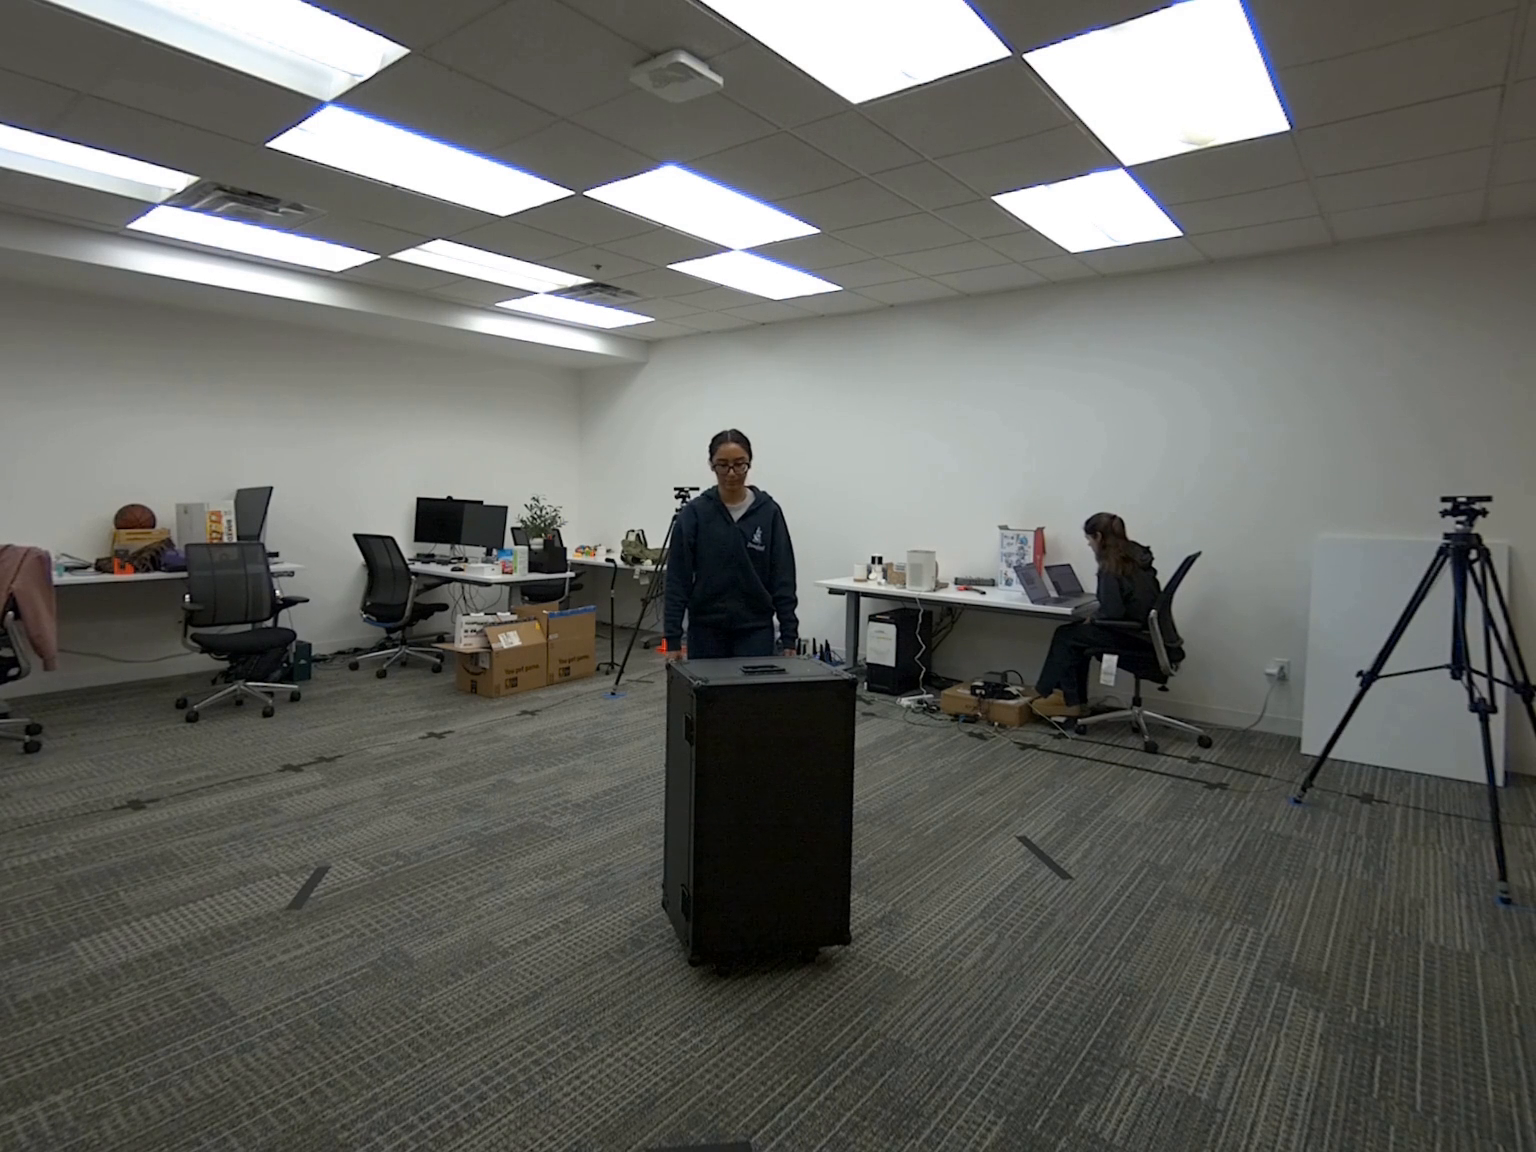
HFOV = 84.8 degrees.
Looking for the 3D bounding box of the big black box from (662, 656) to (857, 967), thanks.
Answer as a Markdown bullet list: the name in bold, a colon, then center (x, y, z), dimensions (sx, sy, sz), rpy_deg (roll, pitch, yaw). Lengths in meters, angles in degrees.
- **big black box**: center (-0.054, 0.692, 2.565), dimensions (0.512, 0.860, 0.404), rpy_deg (-1, 2, -18)
